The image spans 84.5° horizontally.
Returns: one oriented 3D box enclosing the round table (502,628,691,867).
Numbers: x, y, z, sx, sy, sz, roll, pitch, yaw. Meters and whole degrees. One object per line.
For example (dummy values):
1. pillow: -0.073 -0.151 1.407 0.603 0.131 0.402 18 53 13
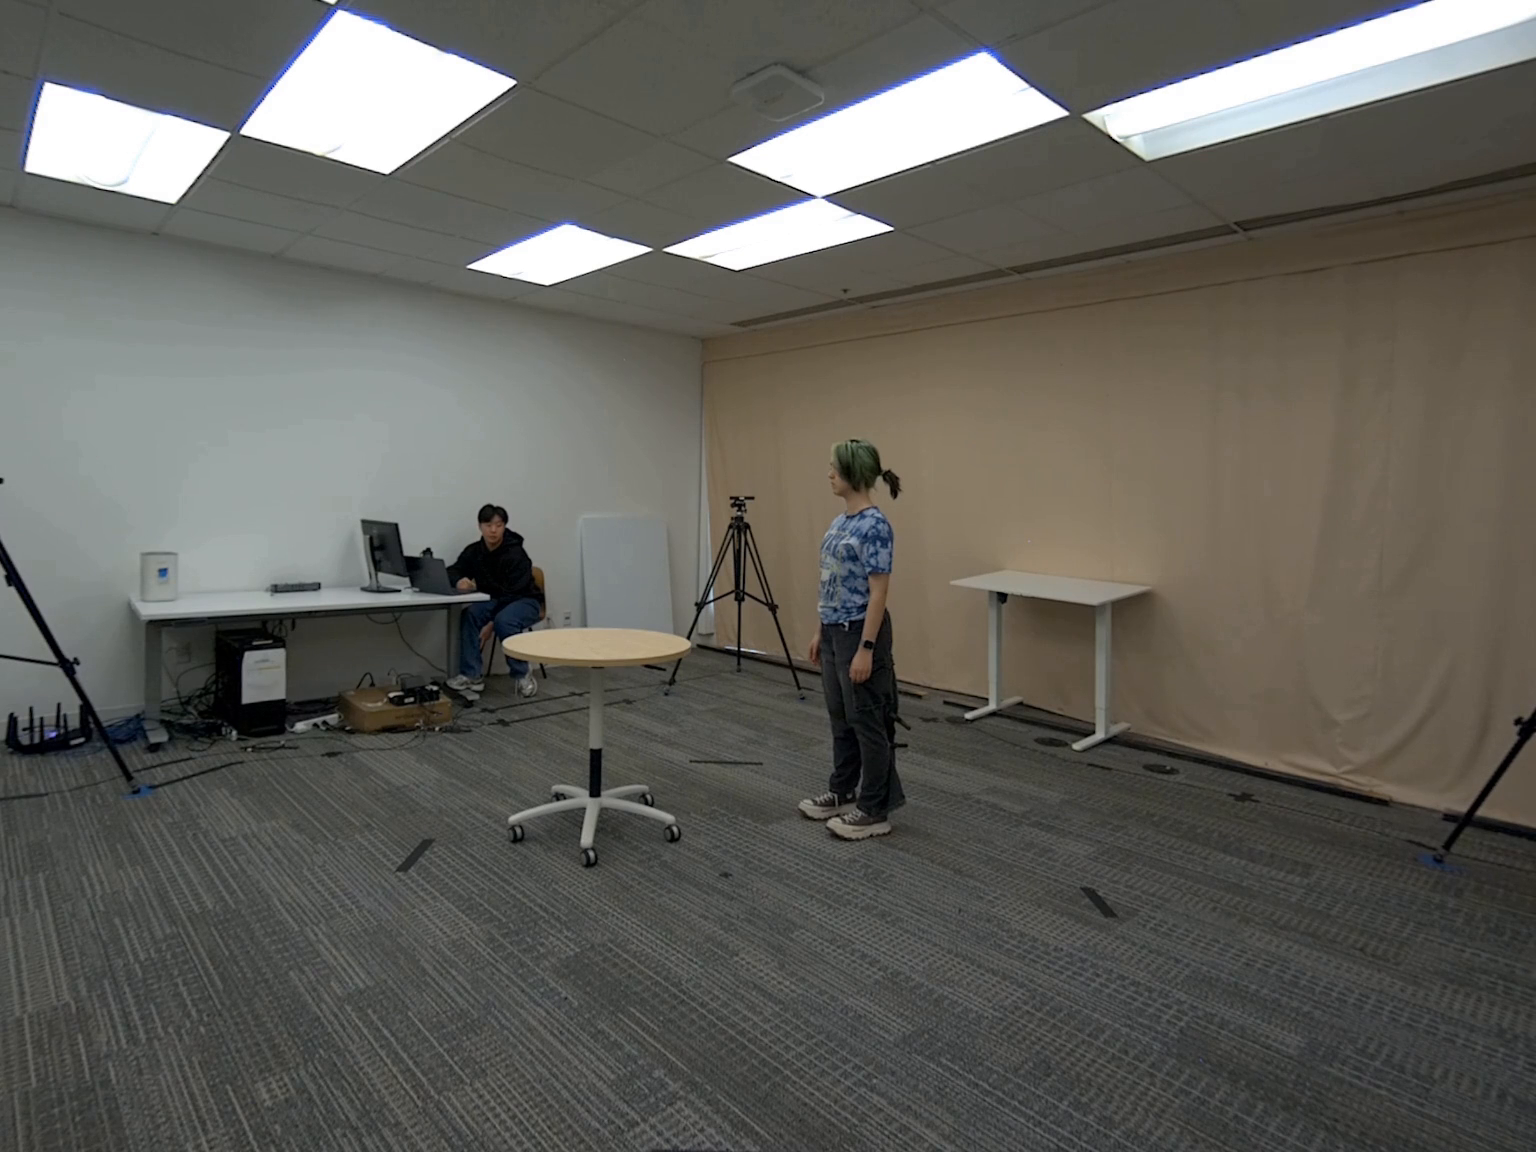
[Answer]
1. round table: -0.721 0.669 3.487 0.763 0.792 0.766 1 3 -1
